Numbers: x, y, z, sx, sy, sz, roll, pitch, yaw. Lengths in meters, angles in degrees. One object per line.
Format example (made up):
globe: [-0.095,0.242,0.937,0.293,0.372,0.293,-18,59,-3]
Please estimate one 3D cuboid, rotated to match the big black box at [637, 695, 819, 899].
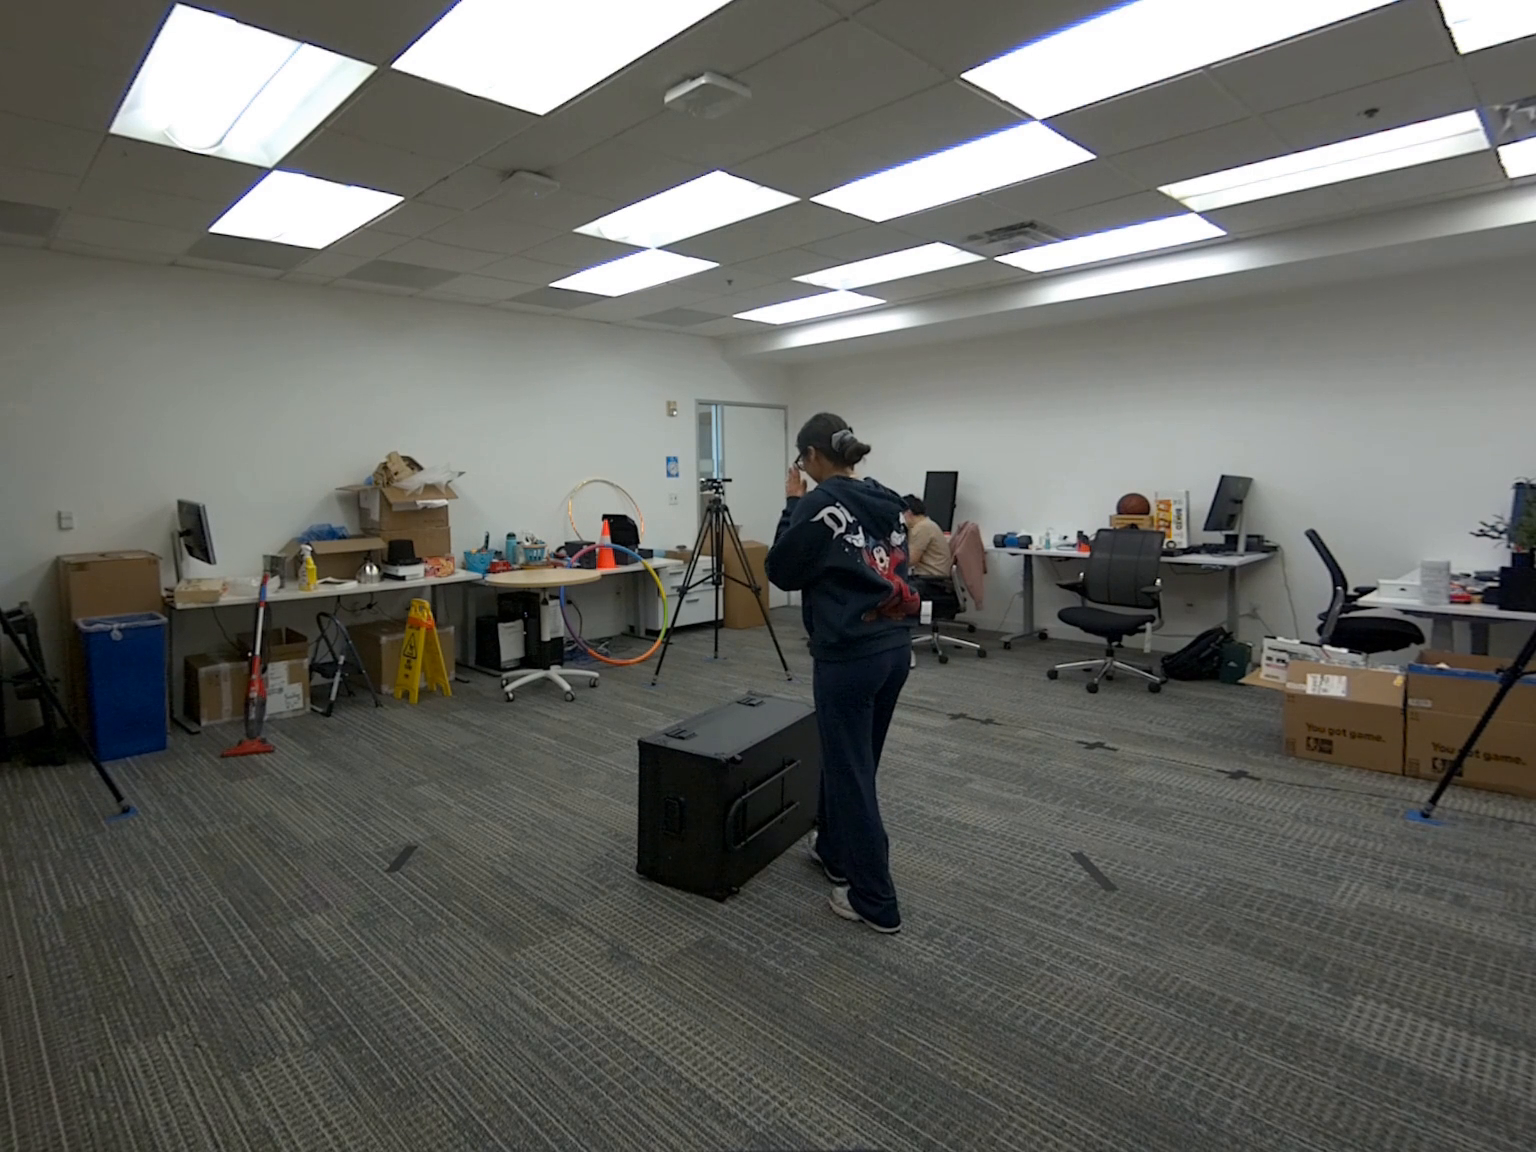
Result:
big black box: [-0.085,0.773,3.238,0.407,0.518,0.843,4,8,29]
